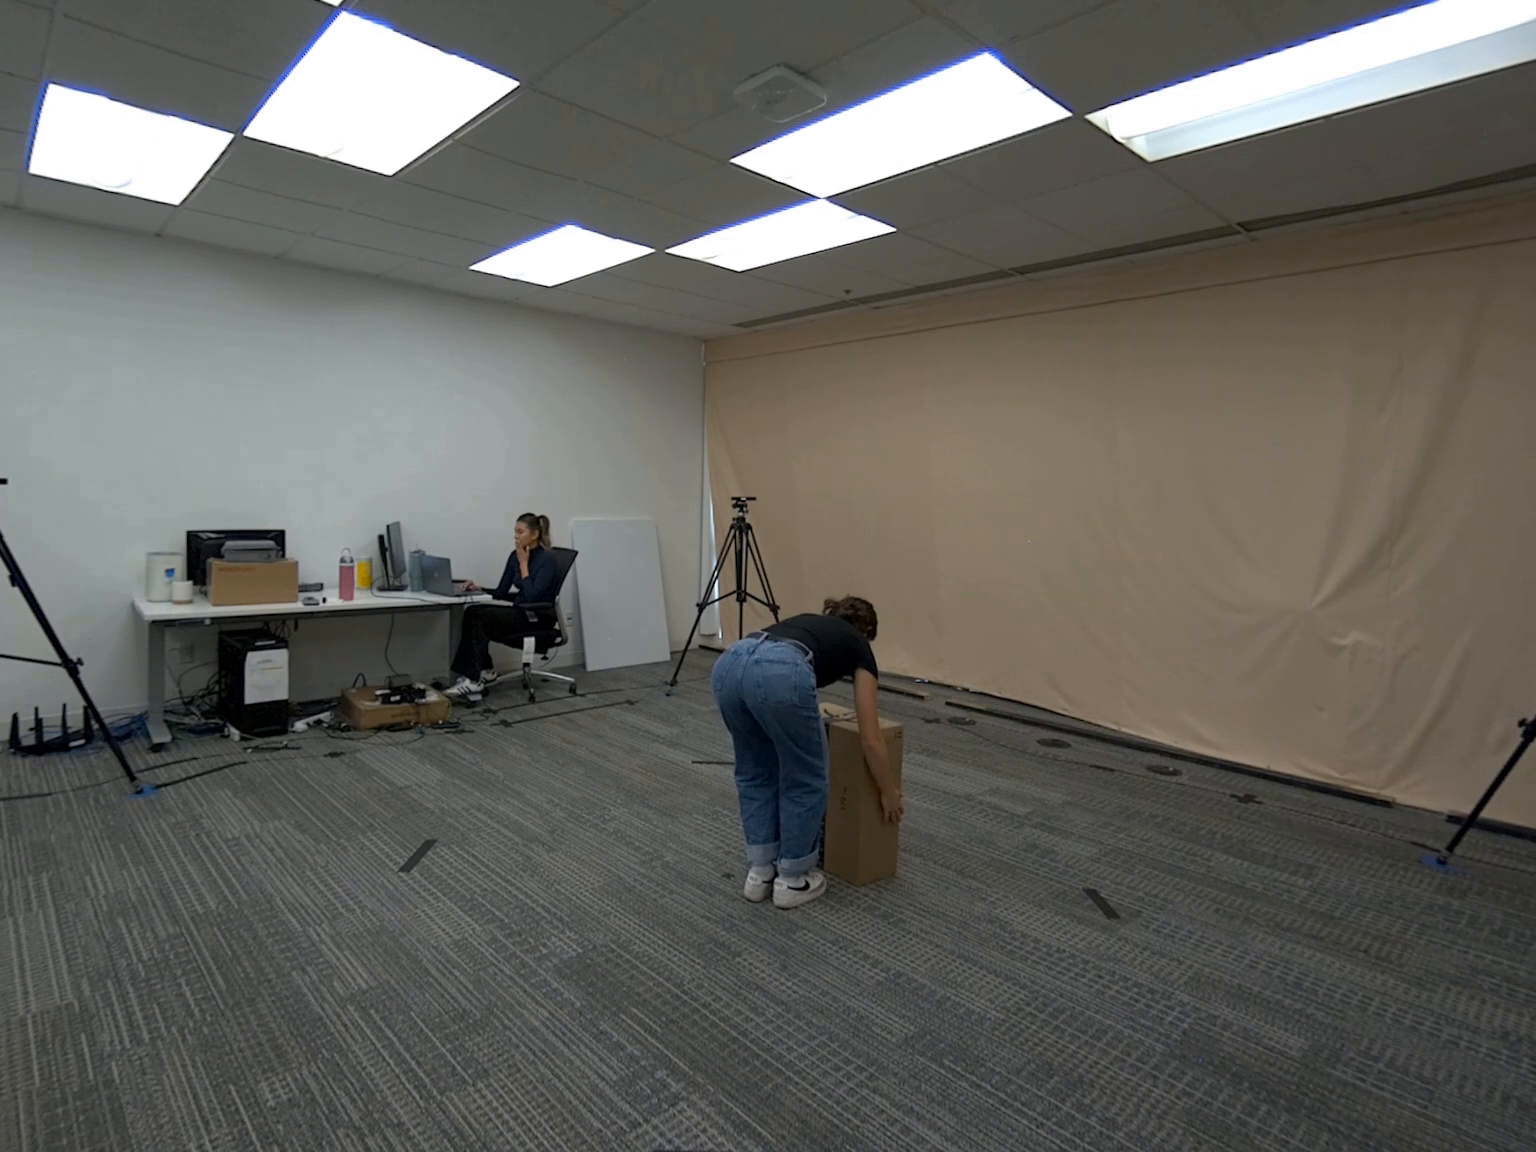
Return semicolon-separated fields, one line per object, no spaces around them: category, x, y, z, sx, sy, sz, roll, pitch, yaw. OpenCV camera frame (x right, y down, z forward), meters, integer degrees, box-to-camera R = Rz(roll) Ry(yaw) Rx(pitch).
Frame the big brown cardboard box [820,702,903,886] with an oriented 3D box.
big brown cardboard box;0.275;0.816;3.244;0.228;0.587;0.428;0;5;-39
